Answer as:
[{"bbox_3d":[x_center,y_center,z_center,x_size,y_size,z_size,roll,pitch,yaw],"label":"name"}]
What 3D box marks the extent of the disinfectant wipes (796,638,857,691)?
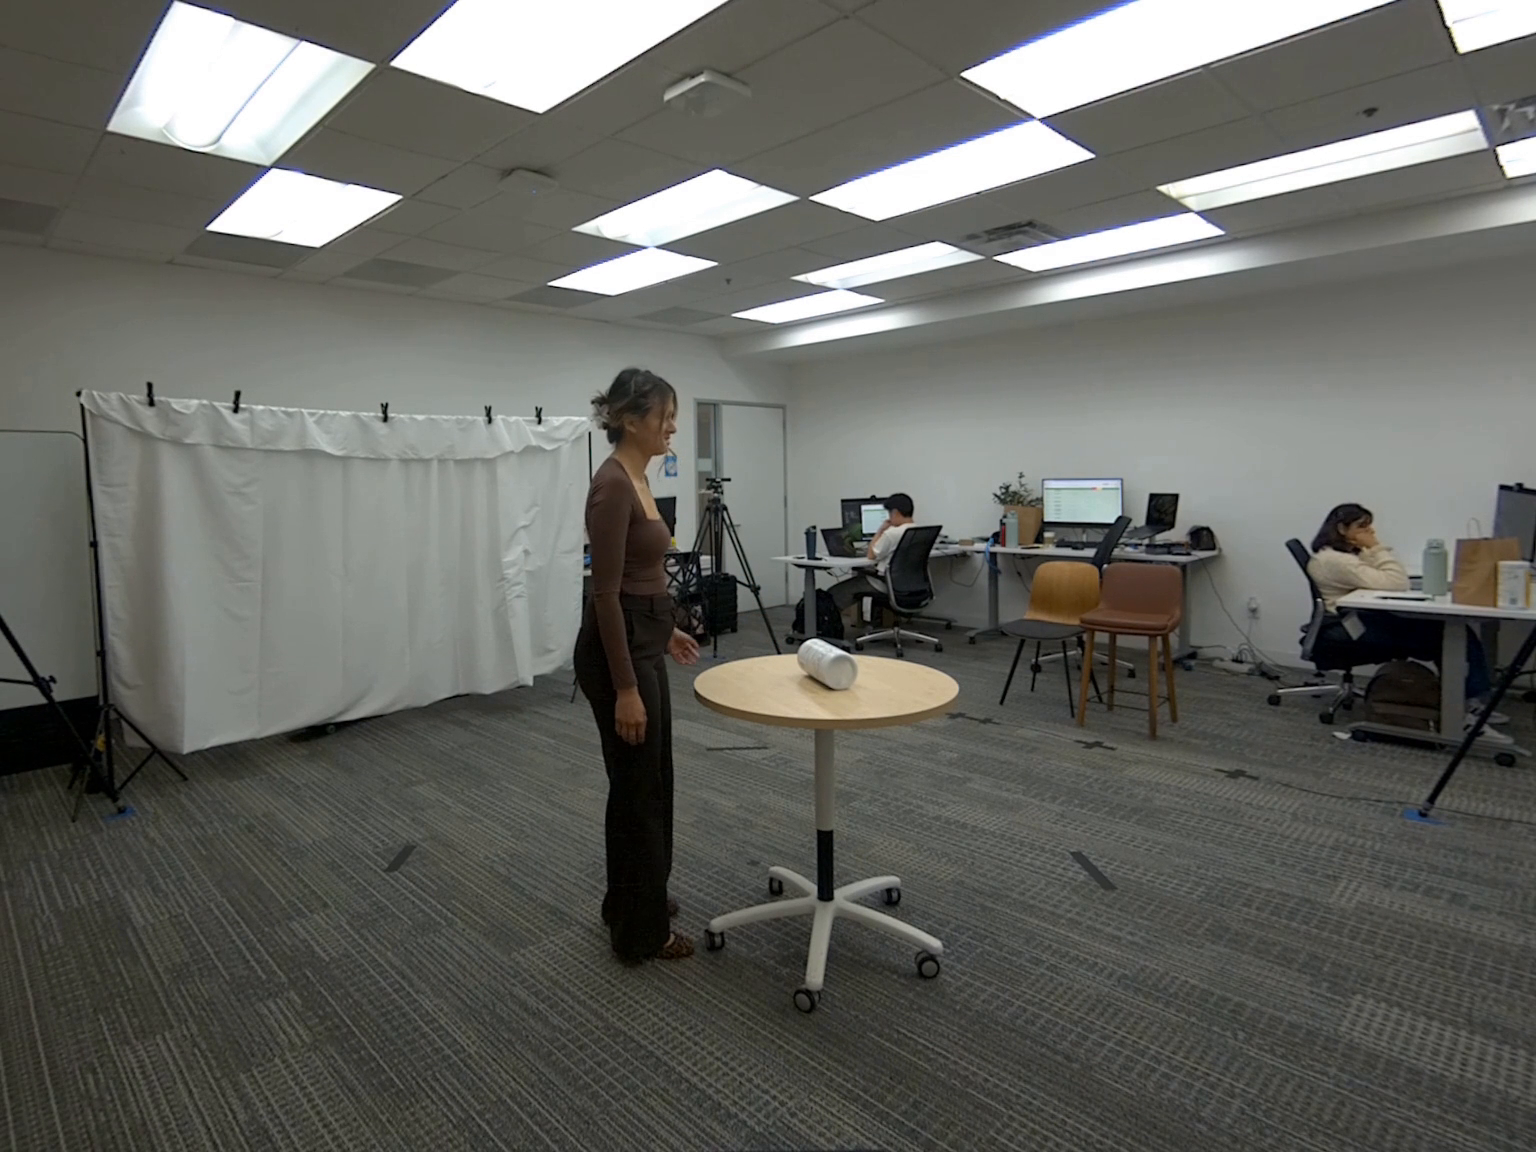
[{"bbox_3d":[0.165,0.258,2.497,0.116,0.117,0.222,-2,8,-15],"label":"disinfectant wipes"}]
